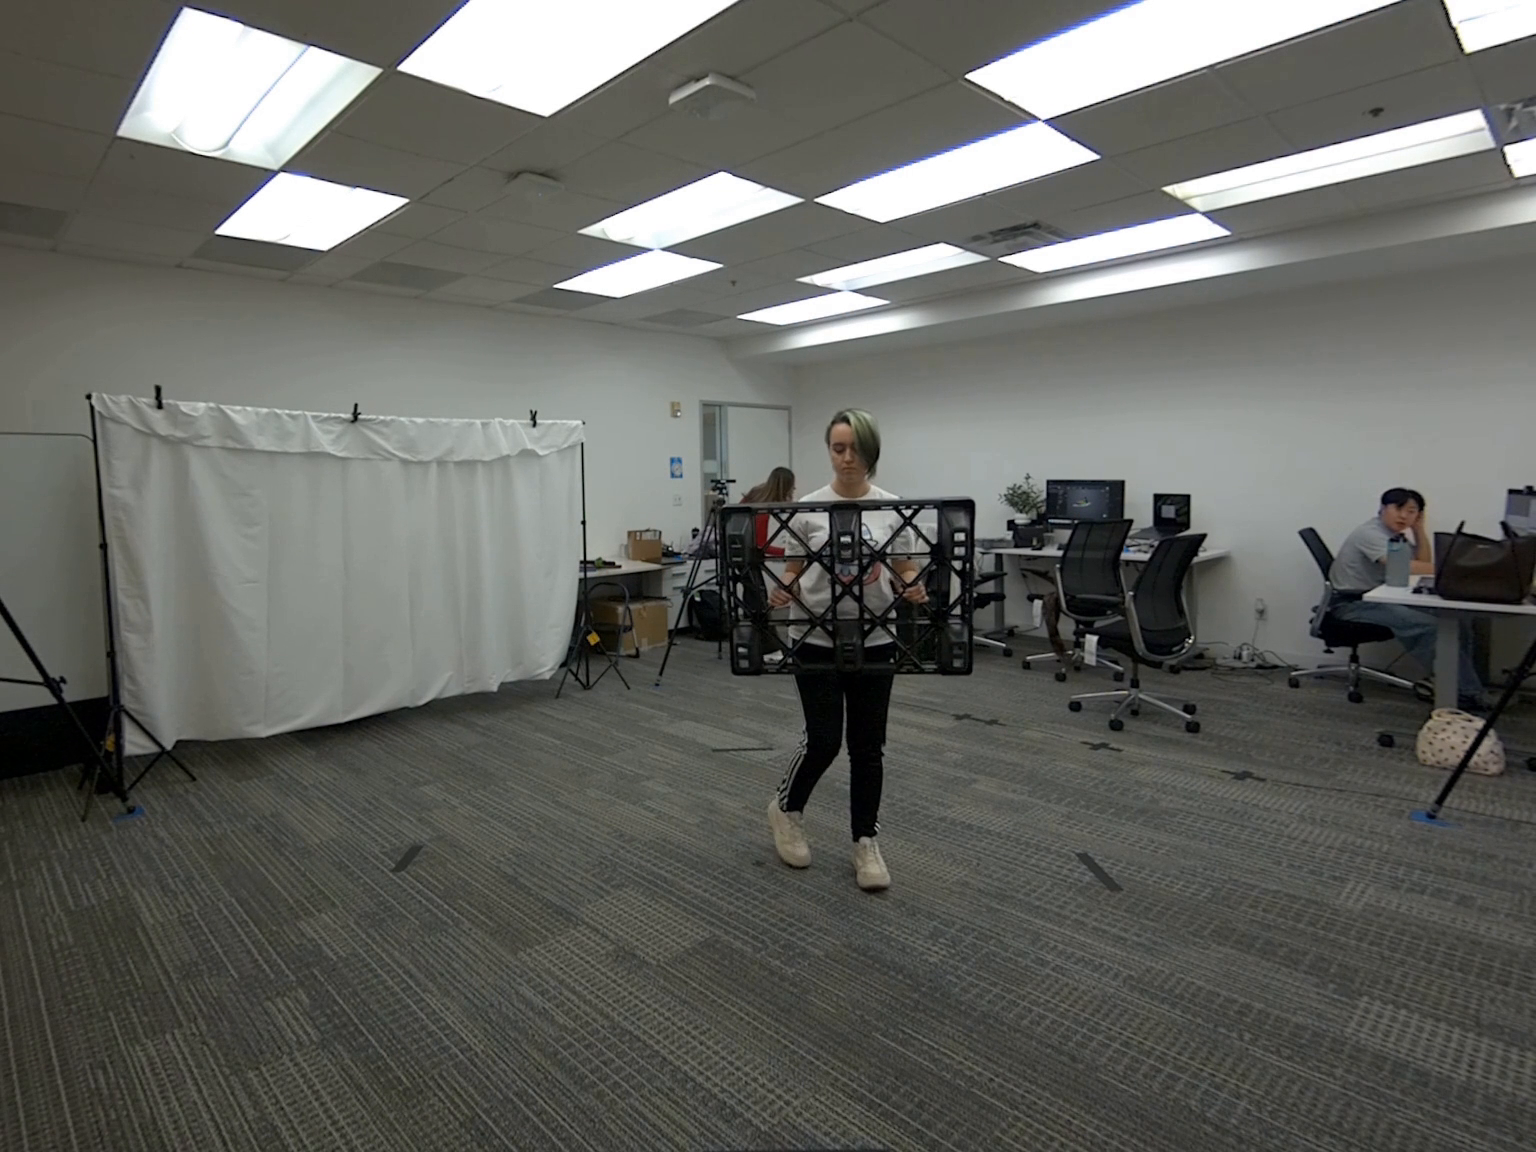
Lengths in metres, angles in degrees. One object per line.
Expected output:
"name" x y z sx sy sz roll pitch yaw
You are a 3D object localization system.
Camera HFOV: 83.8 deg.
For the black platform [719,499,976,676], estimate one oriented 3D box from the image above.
"black platform" 0.246 0.072 2.746 0.813 0.596 0.144 -1 16 9
